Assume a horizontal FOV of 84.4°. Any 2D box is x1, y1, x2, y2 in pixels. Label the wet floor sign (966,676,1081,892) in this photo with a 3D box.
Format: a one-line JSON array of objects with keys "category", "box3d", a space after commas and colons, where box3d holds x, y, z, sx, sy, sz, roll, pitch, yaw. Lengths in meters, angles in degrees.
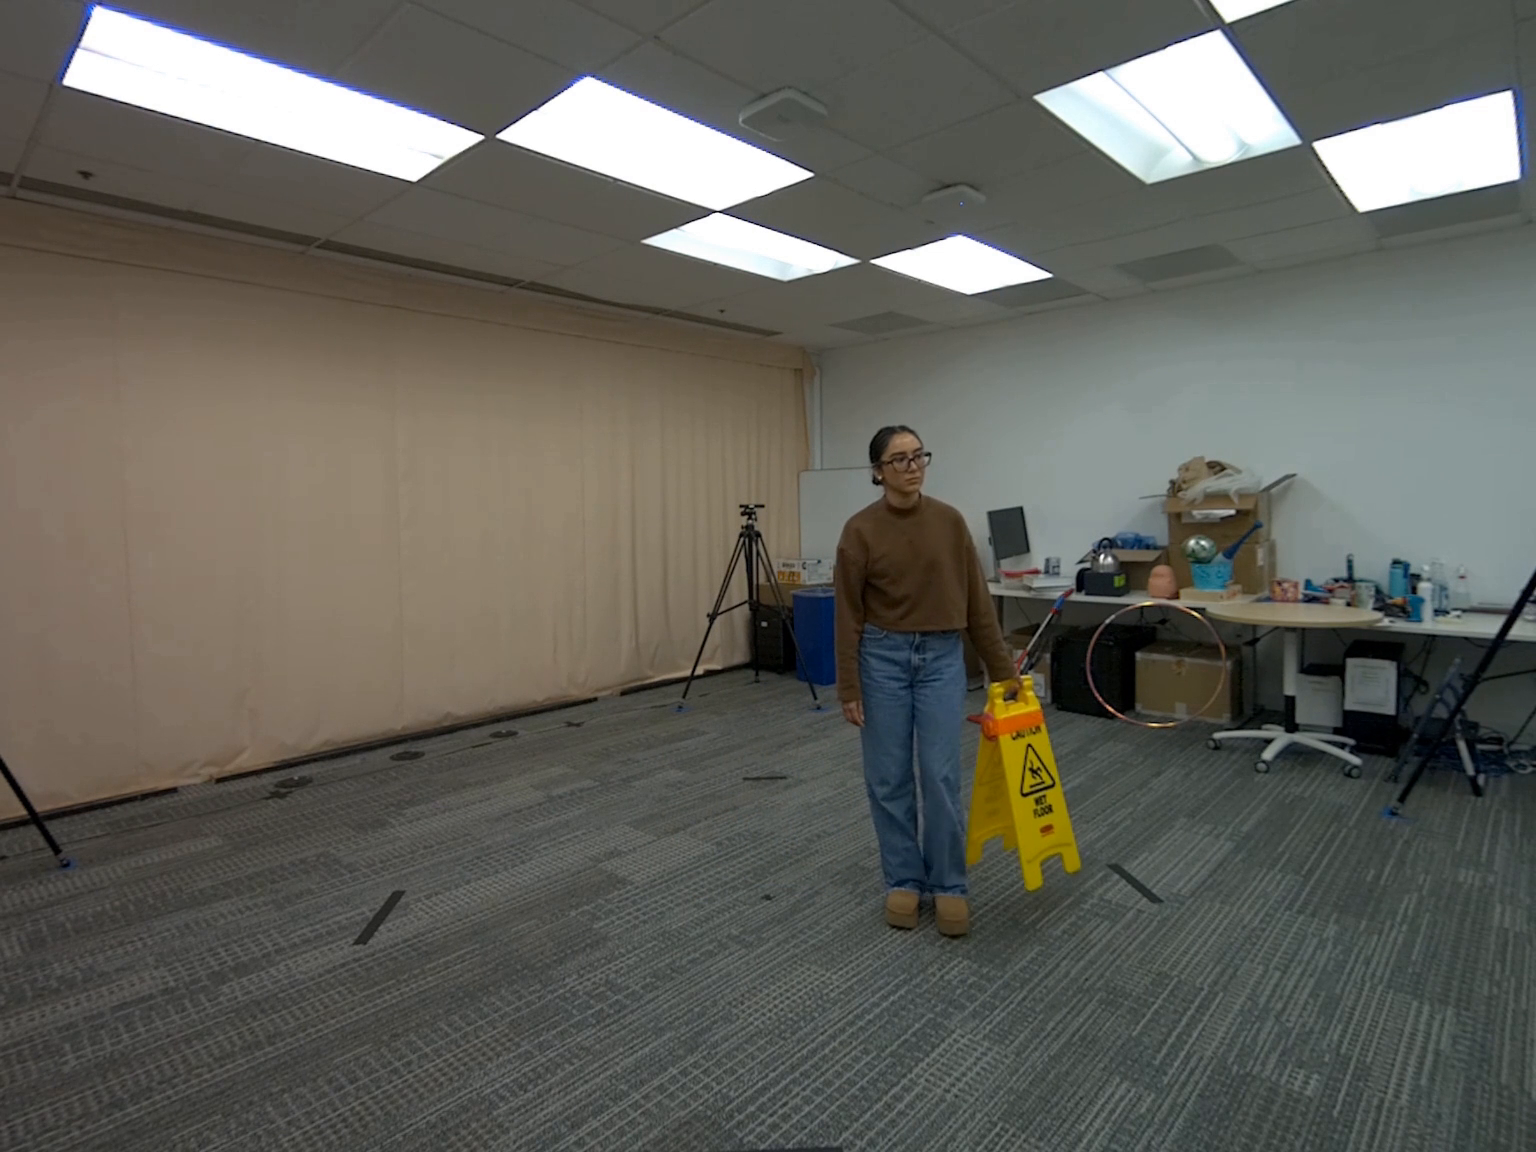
[{"category": "wet floor sign", "box3d": [0.848, 0.677, 2.863, 0.274, 0.645, 0.298, -5, 2, -33]}]
